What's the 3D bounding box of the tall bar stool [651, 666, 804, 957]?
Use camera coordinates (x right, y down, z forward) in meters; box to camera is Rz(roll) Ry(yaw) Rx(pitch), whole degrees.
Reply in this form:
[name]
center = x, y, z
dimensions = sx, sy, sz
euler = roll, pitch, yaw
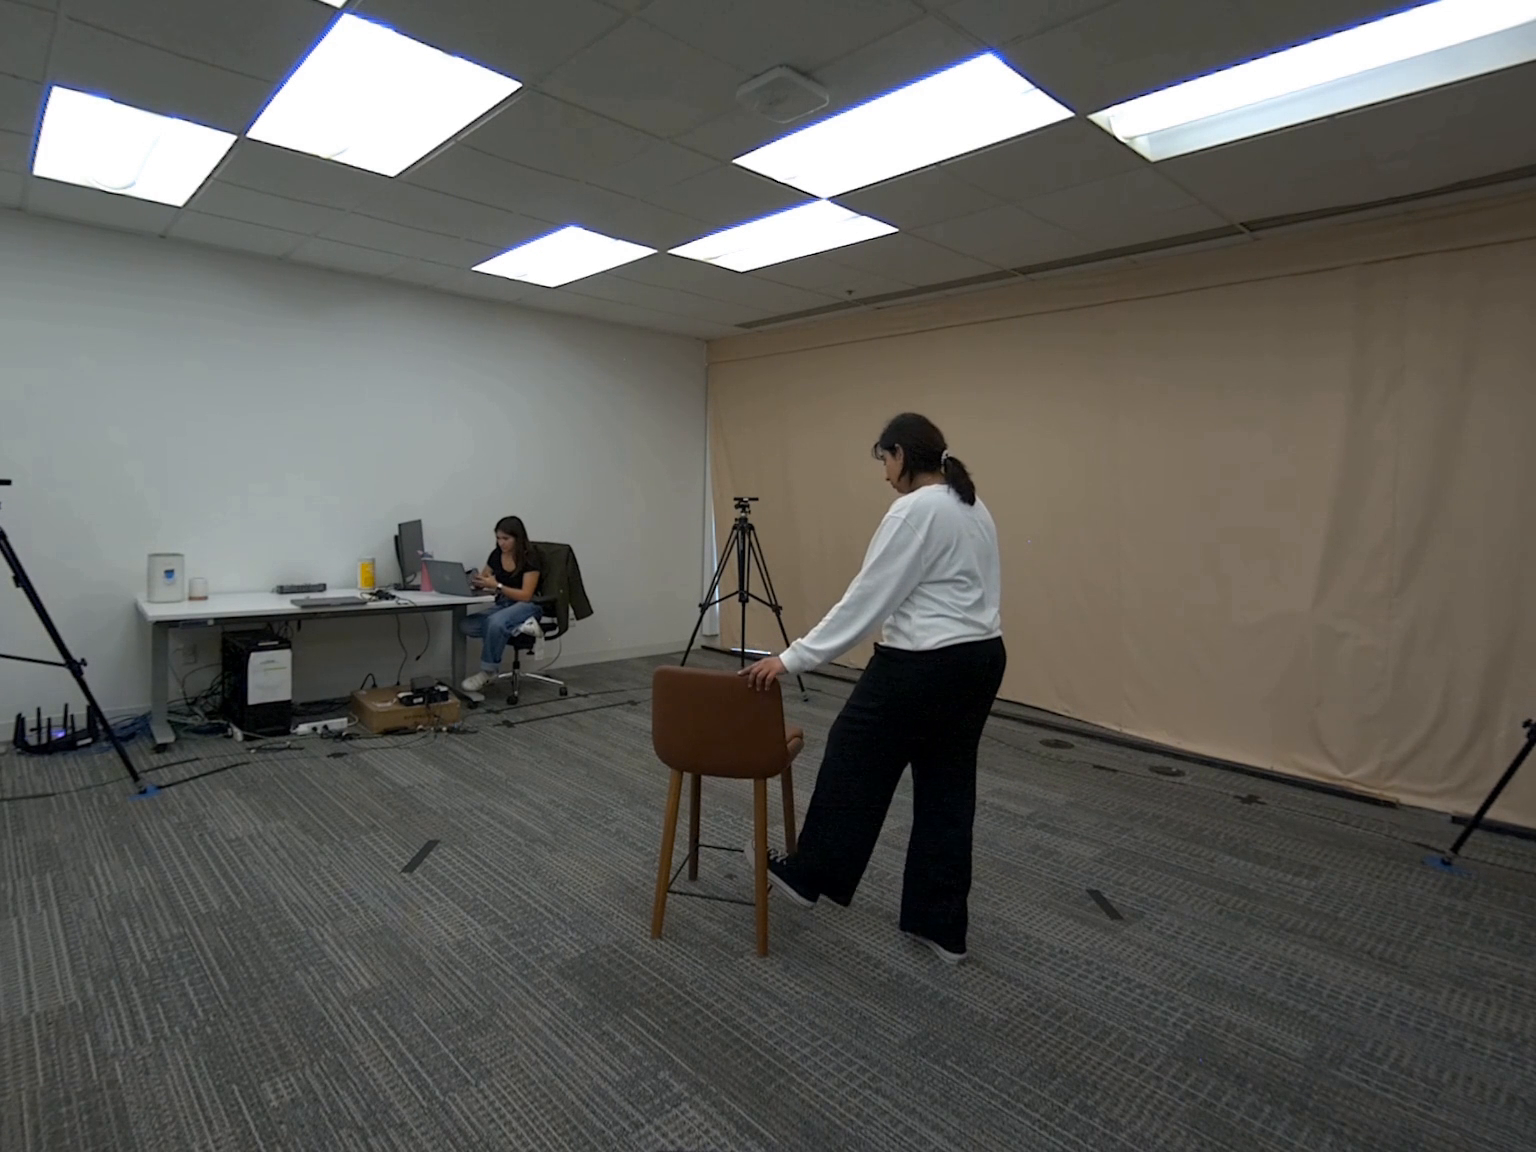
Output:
[tall bar stool]
center = -0.131, 0.701, 2.791
dimensions = 0.462, 0.886, 0.463
euler = 3, 5, 16
